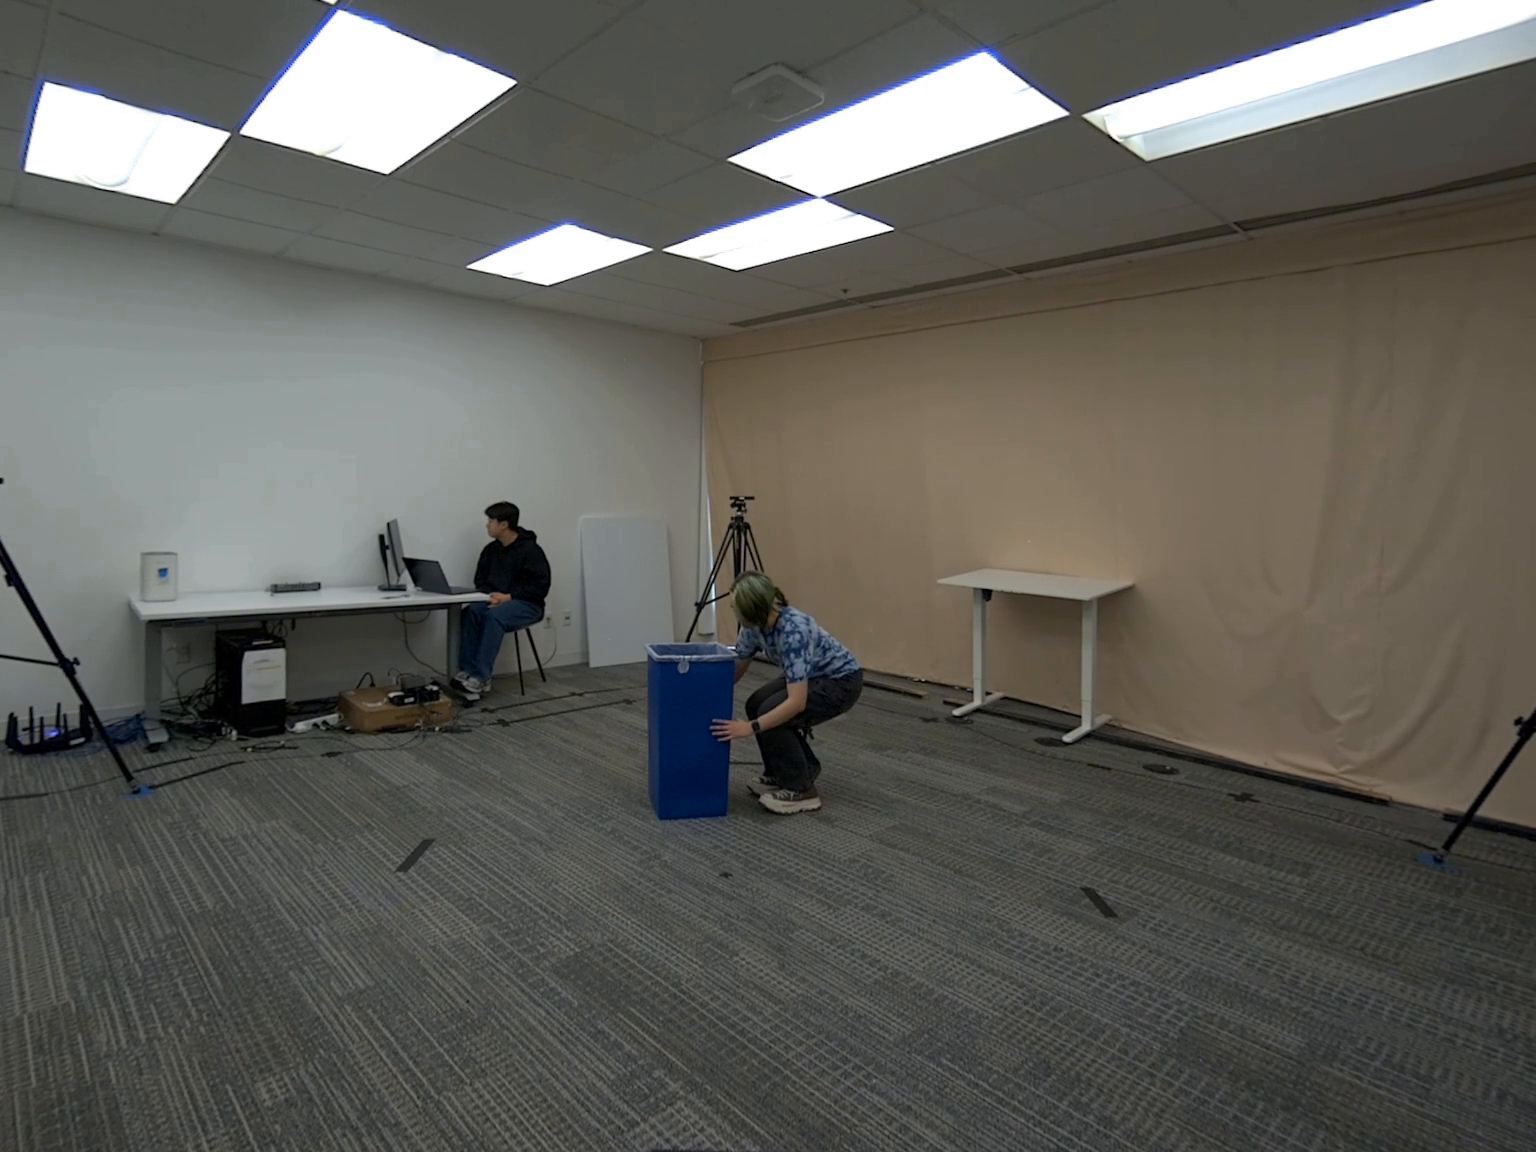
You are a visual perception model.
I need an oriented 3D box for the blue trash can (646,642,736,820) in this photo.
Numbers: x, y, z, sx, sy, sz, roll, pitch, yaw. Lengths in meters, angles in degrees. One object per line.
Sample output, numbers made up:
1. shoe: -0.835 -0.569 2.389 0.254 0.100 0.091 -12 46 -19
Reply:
1. blue trash can: -0.372 0.686 3.787 0.373 0.712 0.379 1 3 -16
